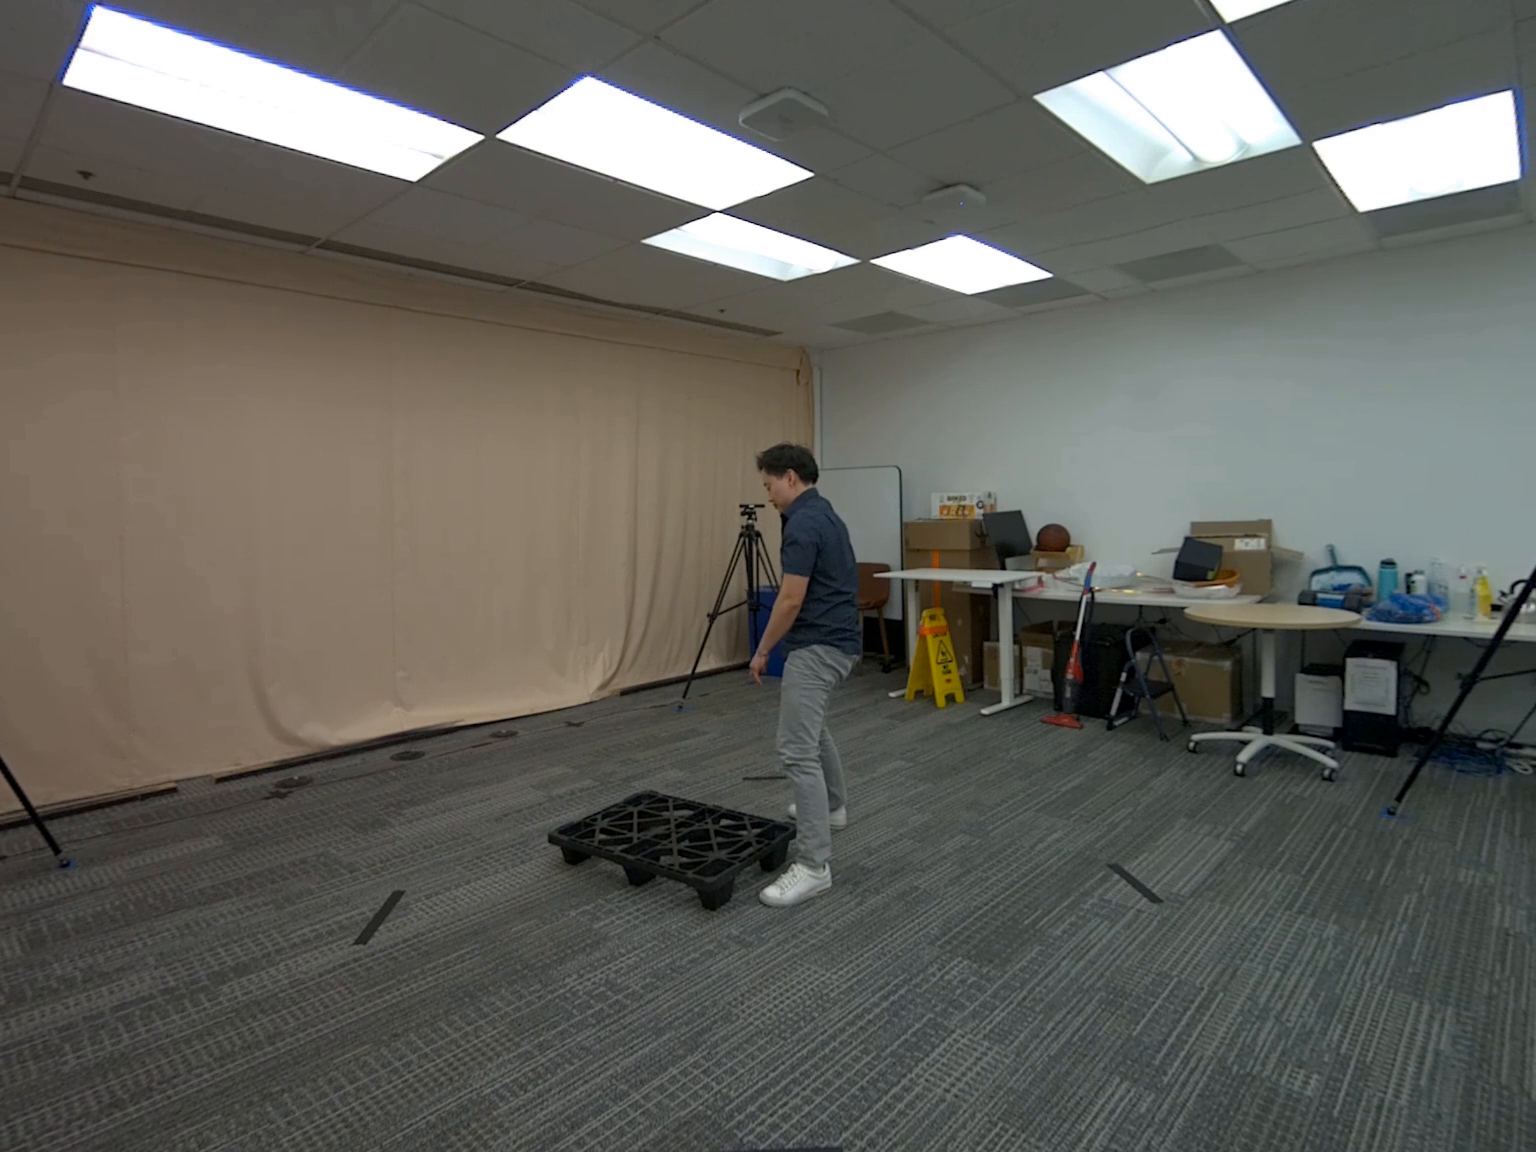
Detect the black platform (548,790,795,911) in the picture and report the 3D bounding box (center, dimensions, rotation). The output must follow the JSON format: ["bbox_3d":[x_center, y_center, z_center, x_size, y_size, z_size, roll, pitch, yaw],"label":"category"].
[{"bbox_3d":[-0.369,1.056,3.287,0.830,0.143,0.588,2,5,34],"label":"black platform"}]
